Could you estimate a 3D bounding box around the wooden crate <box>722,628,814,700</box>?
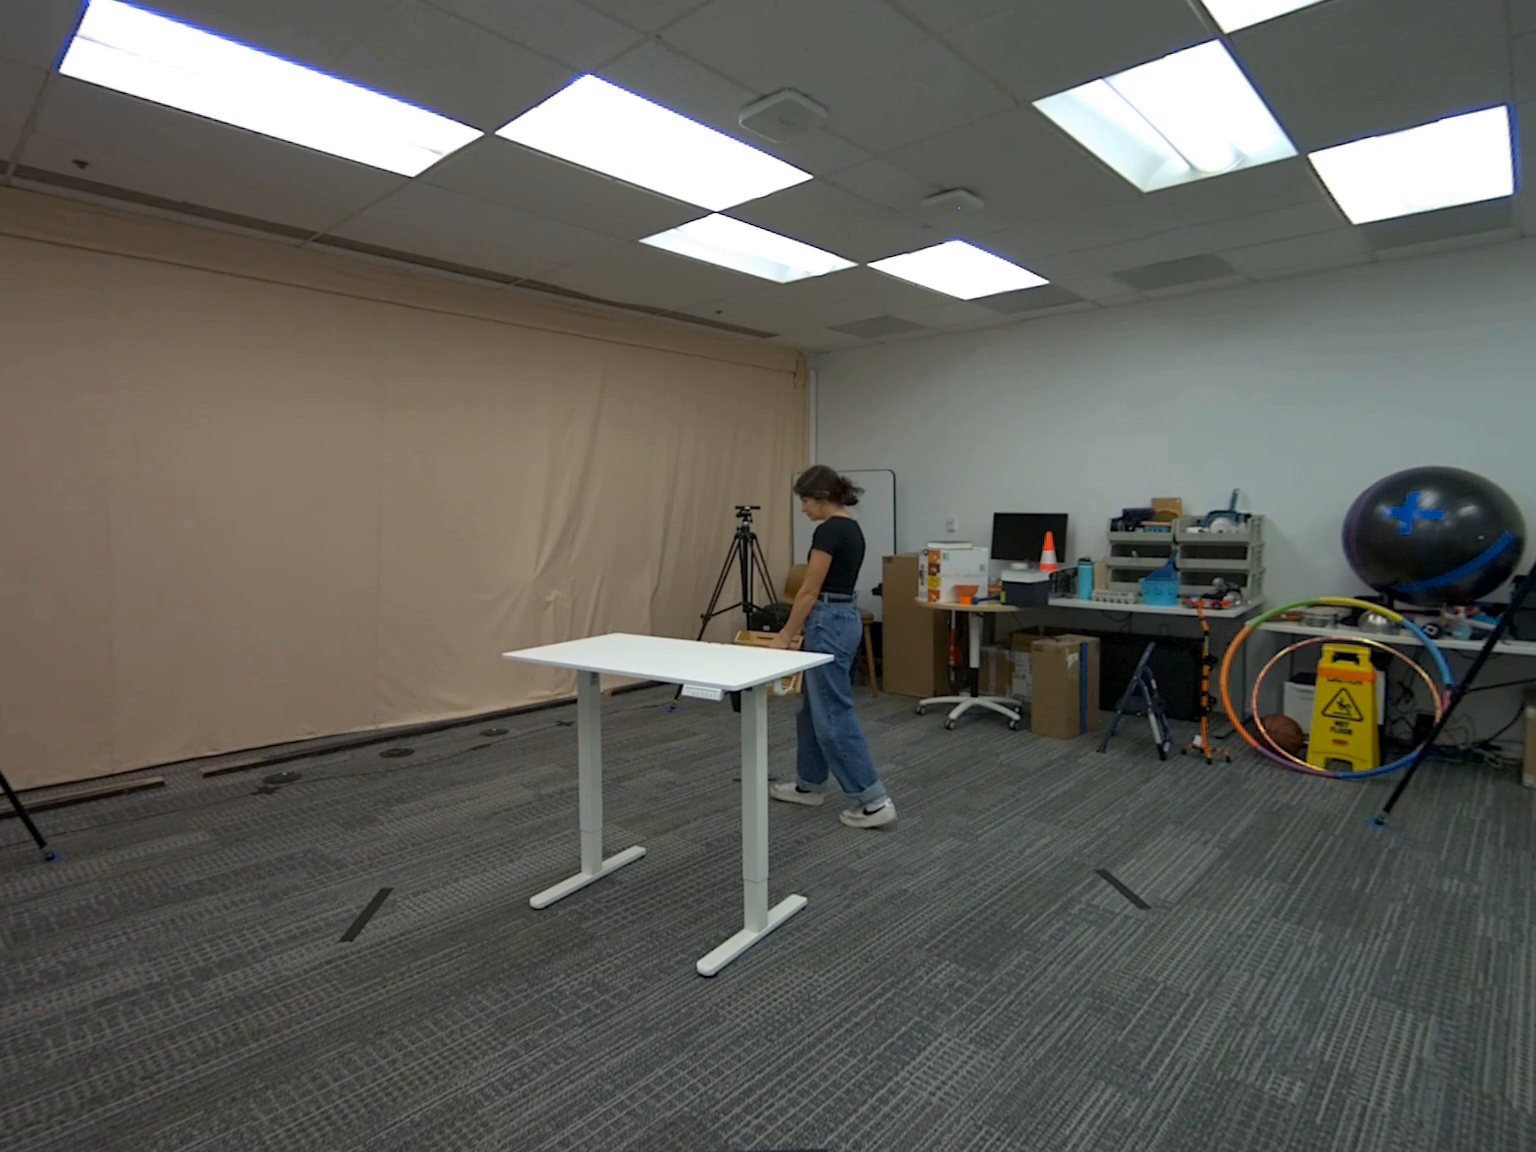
[{"bbox_3d":[0.007,0.389,3.813,0.331,0.274,0.295,4,-4,17],"label":"wooden crate"}]
